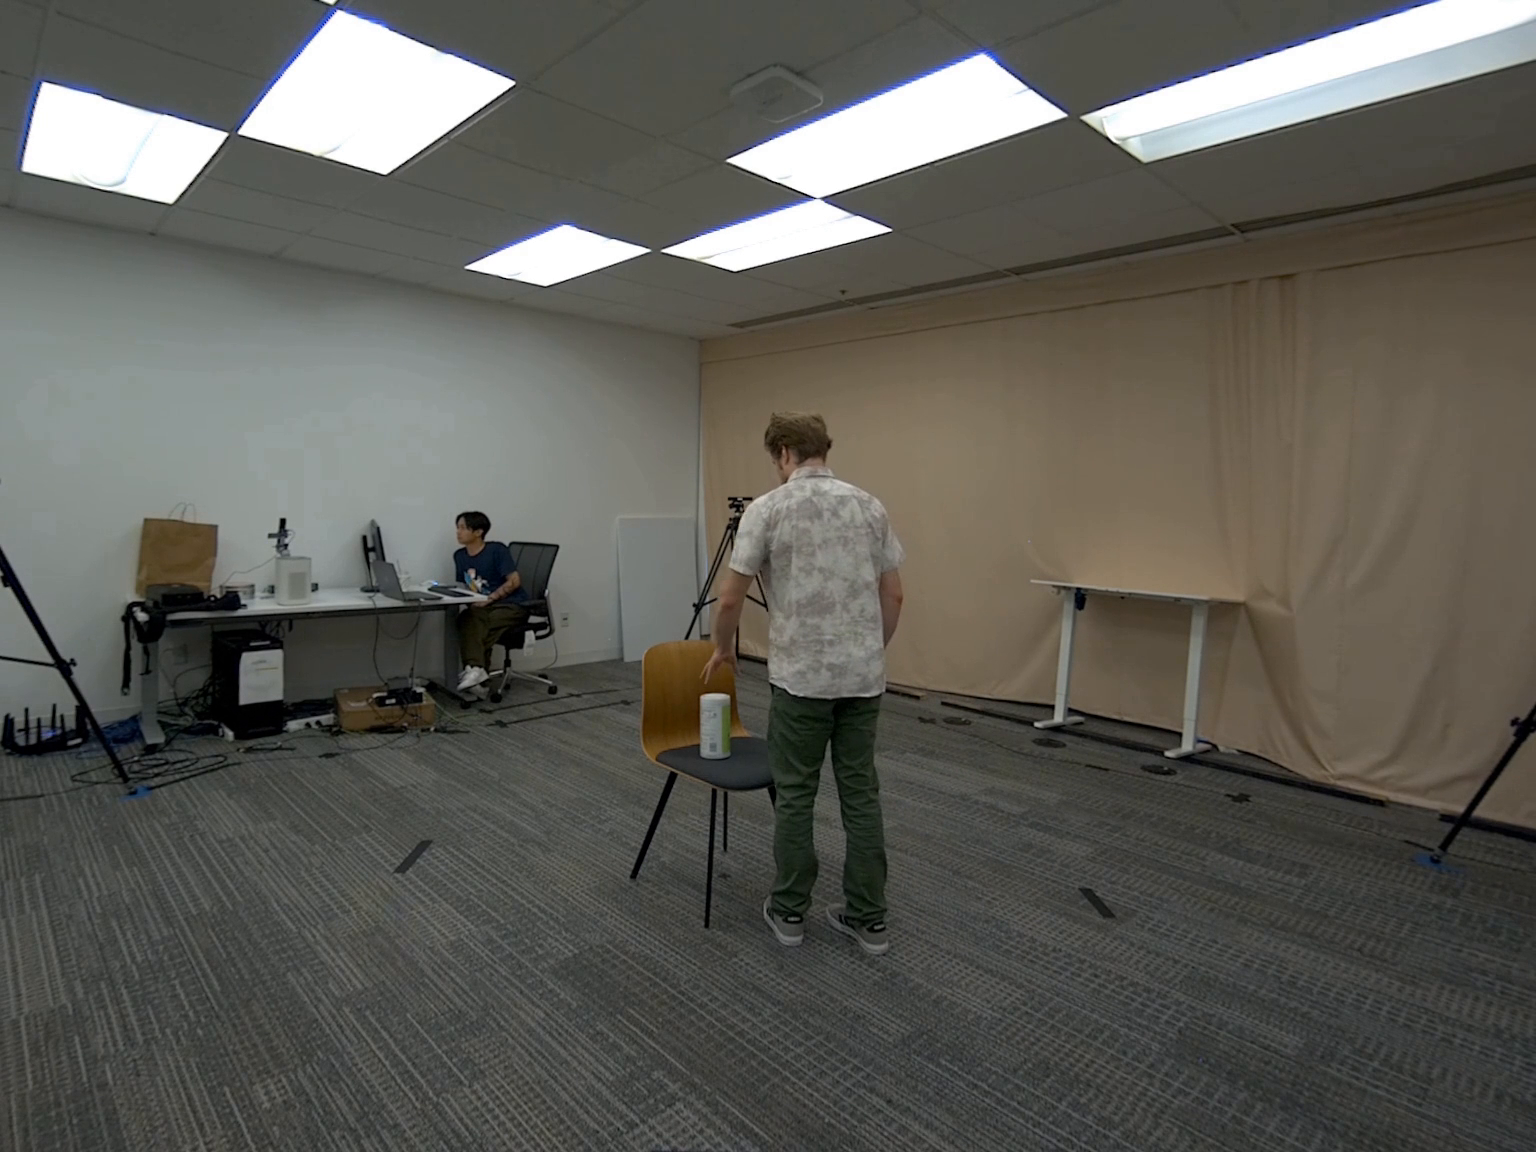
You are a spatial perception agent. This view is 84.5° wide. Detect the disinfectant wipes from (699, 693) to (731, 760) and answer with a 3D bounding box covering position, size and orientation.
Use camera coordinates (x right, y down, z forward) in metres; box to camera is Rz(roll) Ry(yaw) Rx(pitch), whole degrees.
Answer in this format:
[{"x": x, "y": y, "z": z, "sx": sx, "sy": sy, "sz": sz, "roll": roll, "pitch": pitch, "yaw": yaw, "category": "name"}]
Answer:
[{"x": -0.206, "y": 0.538, "z": 3.005, "sx": 0.118, "sy": 0.217, "sz": 0.118, "roll": 1, "pitch": 0, "yaw": -1, "category": "disinfectant wipes"}]
